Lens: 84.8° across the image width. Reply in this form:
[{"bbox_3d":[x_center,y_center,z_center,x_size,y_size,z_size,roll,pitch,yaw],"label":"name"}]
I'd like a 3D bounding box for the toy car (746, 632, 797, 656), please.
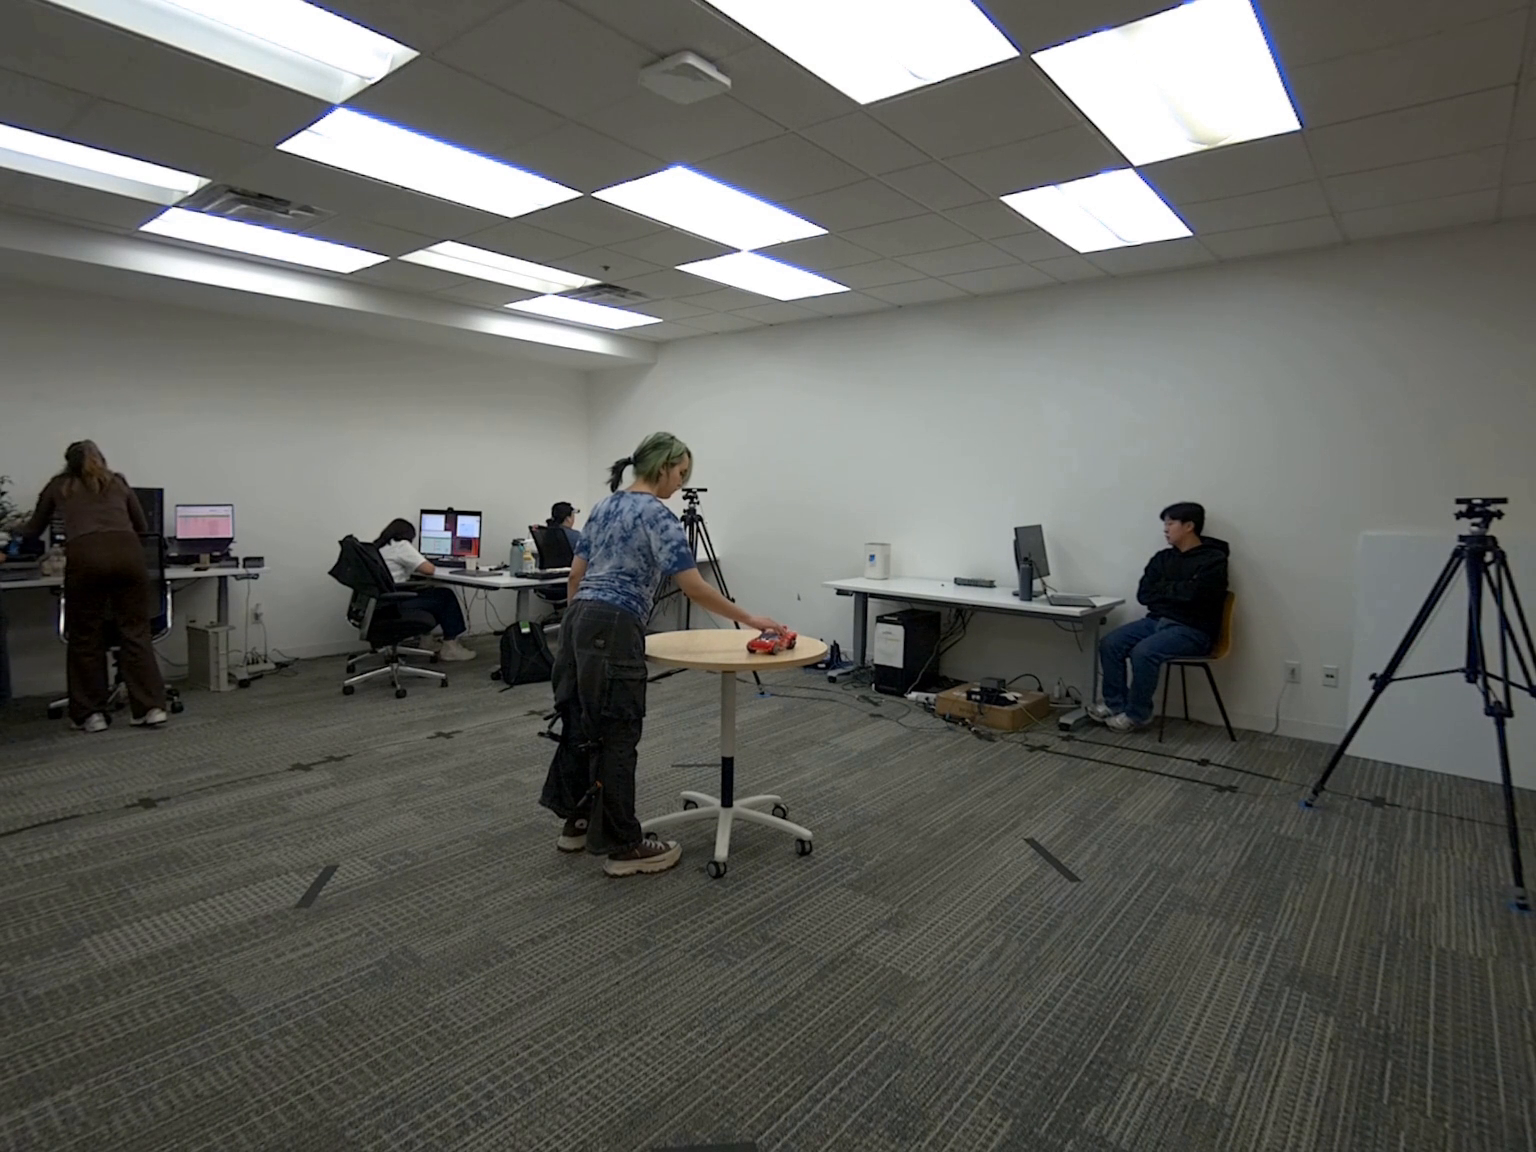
[{"bbox_3d":[0.016,0.248,3.225,0.134,0.082,0.251,1,16,29],"label":"toy car"}]
